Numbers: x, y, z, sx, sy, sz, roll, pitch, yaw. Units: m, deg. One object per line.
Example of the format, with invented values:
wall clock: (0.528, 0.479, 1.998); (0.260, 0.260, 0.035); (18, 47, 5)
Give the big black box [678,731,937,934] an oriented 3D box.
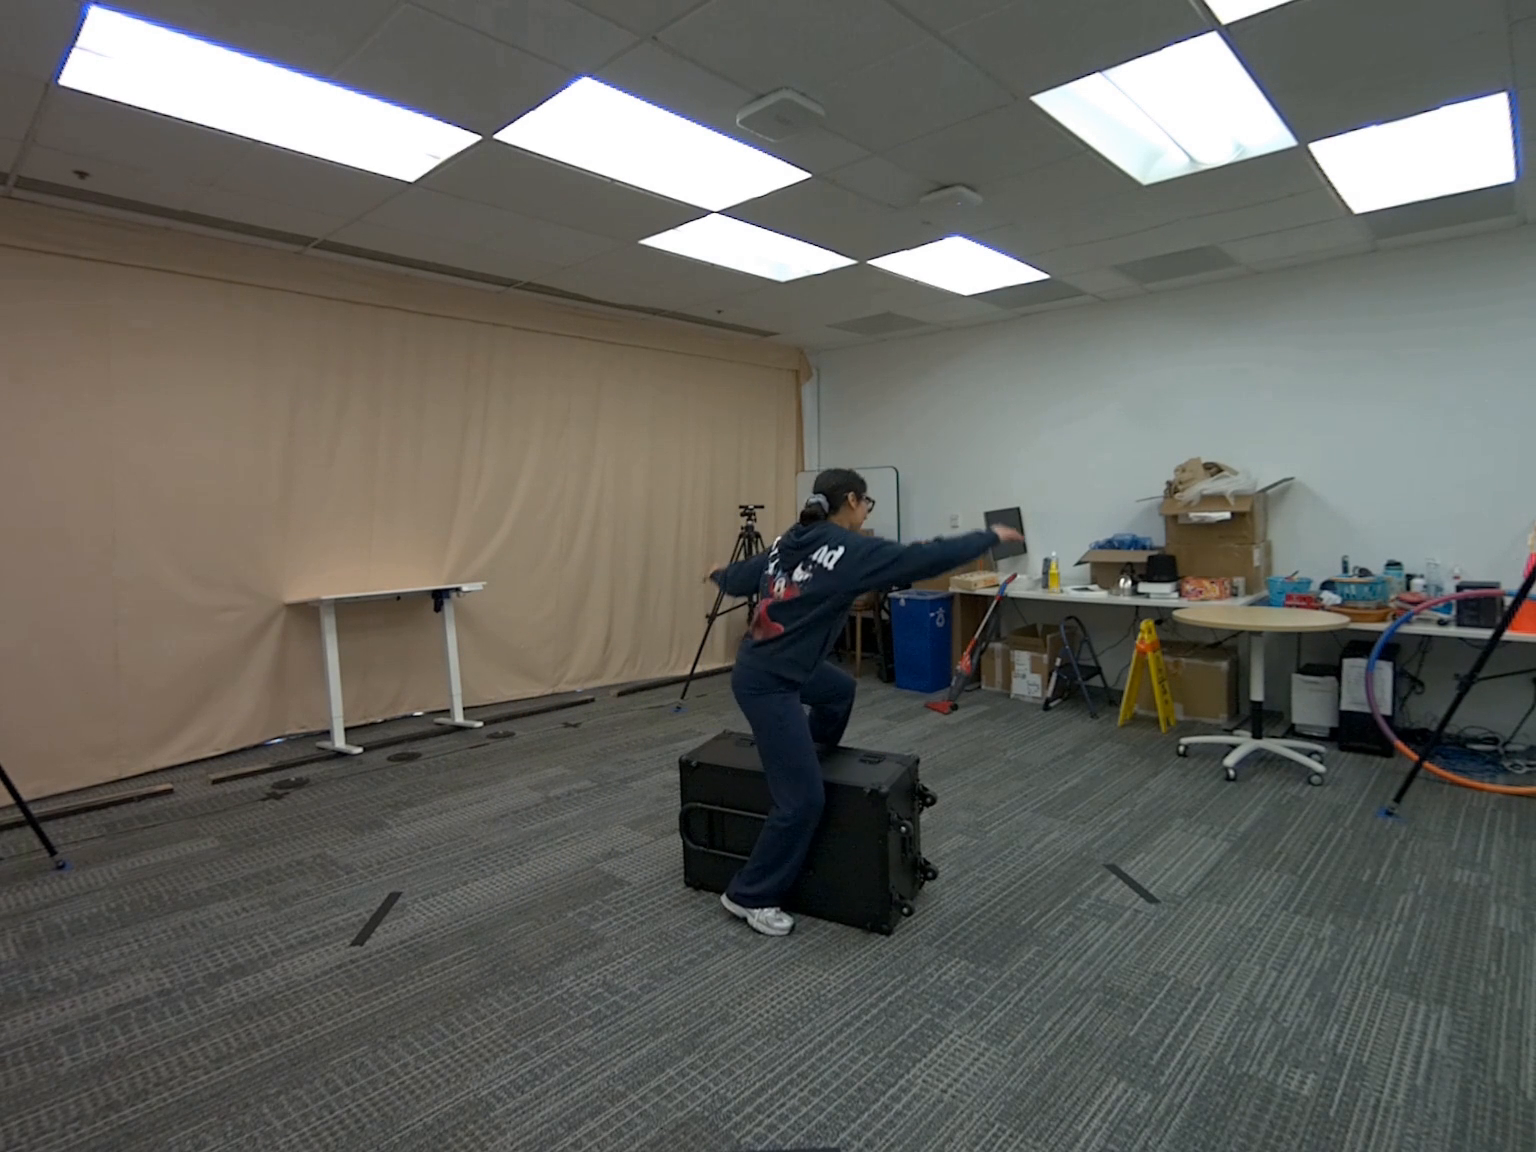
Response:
big black box: (0.137, 0.885, 2.998); (0.885, 0.519, 0.387); (1, 7, 28)
